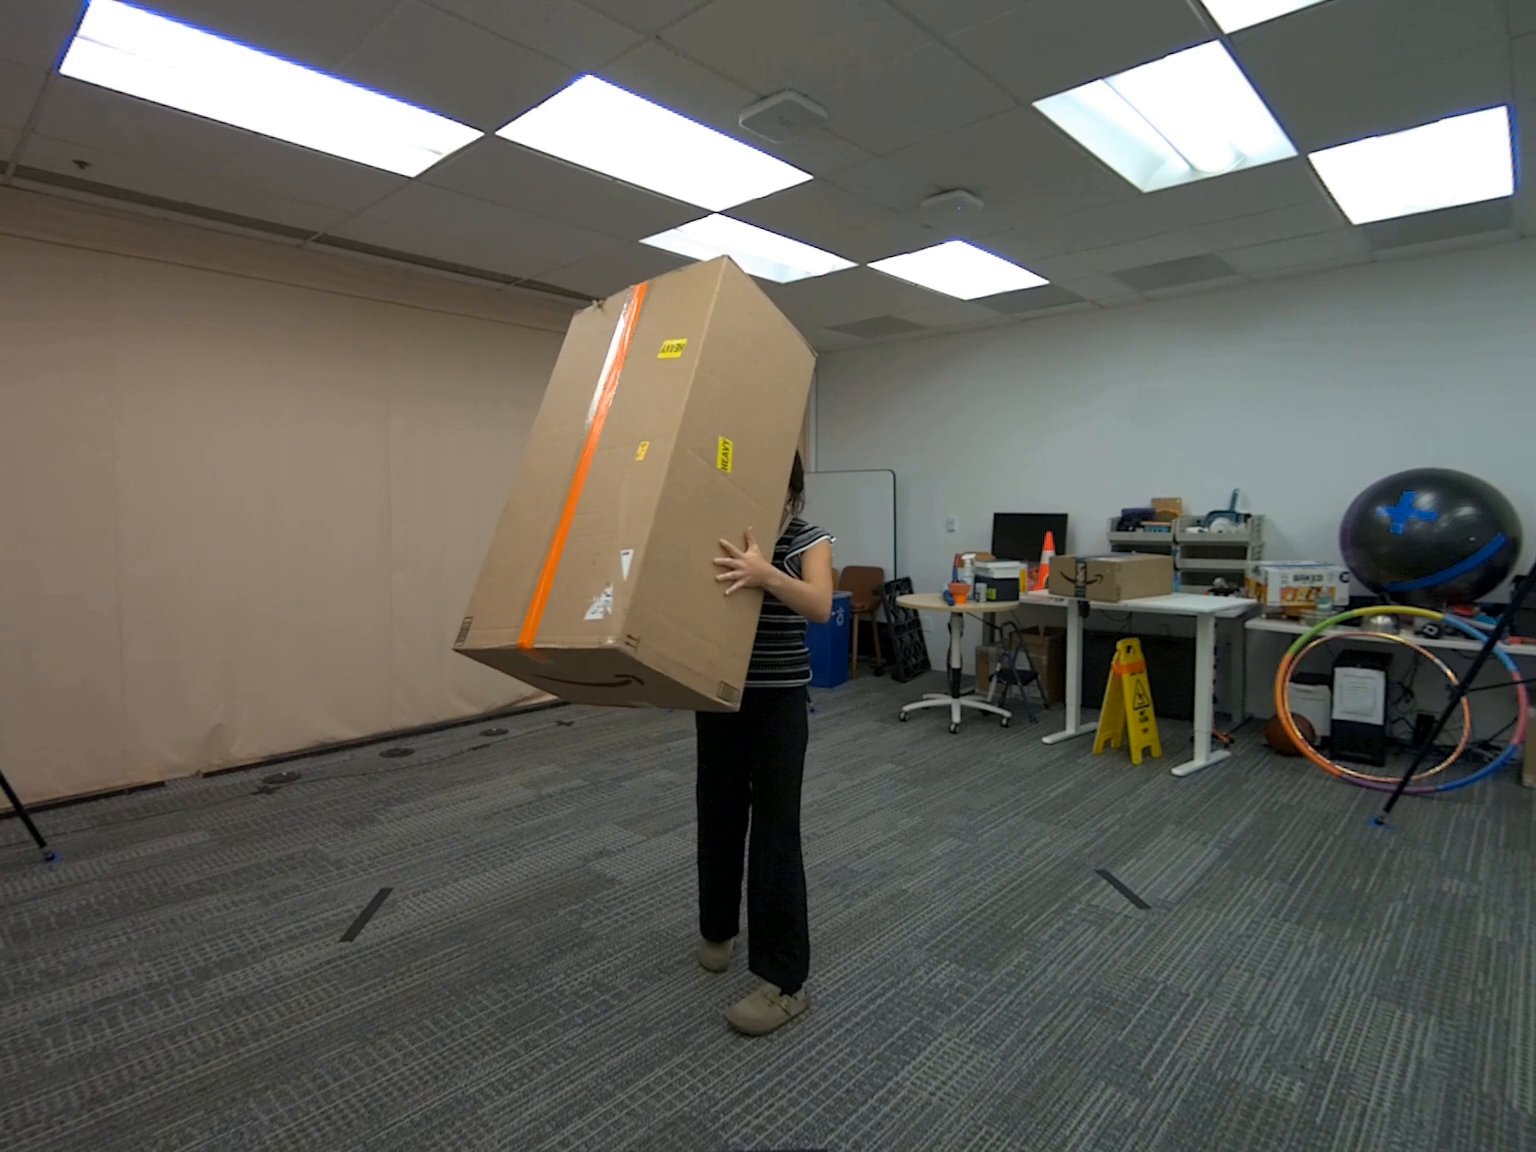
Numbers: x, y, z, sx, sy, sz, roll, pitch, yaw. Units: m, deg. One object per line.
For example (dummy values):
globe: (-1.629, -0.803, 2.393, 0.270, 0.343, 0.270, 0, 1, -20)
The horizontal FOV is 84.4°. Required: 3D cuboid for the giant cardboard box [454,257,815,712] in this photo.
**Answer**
giant cardboard box: (-0.310, -0.214, 2.179, 0.594, 1.033, 0.410, -5, -28, 38)
